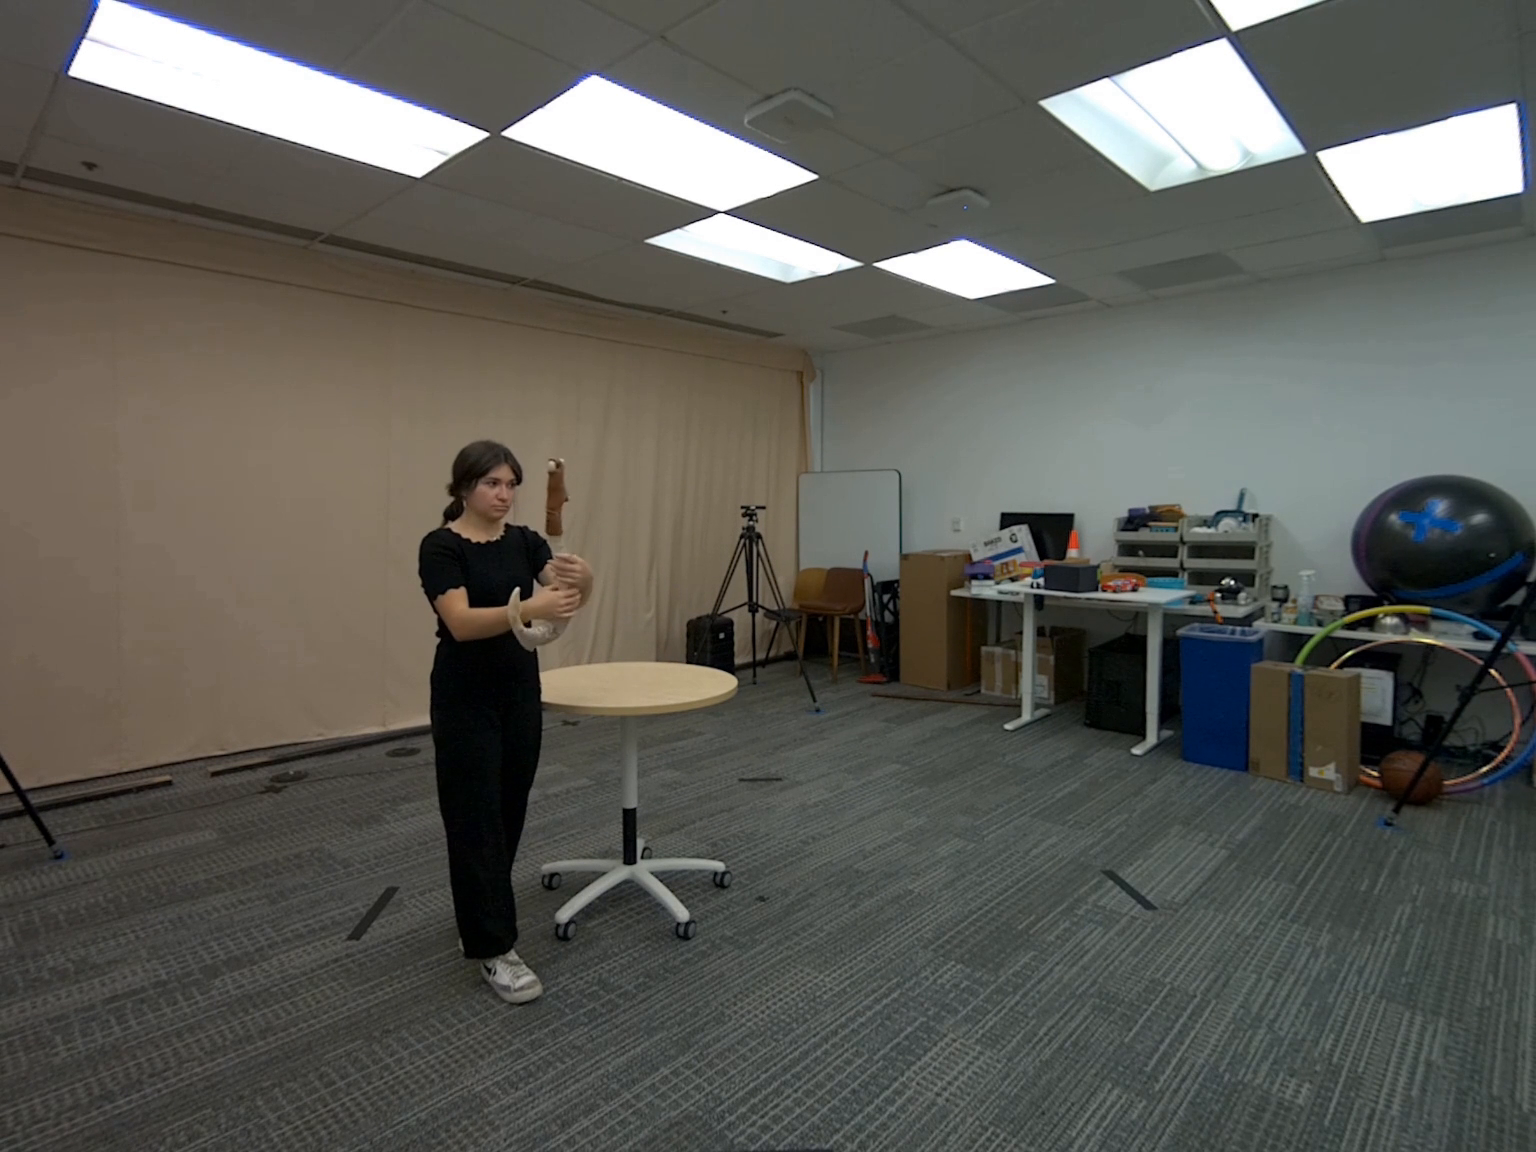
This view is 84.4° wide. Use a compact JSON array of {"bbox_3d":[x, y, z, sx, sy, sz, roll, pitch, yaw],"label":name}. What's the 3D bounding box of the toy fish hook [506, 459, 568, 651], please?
[{"bbox_3d":[-0.576,-0.038,2.137,0.050,0.501,0.220,14,22,28],"label":"toy fish hook"}]
